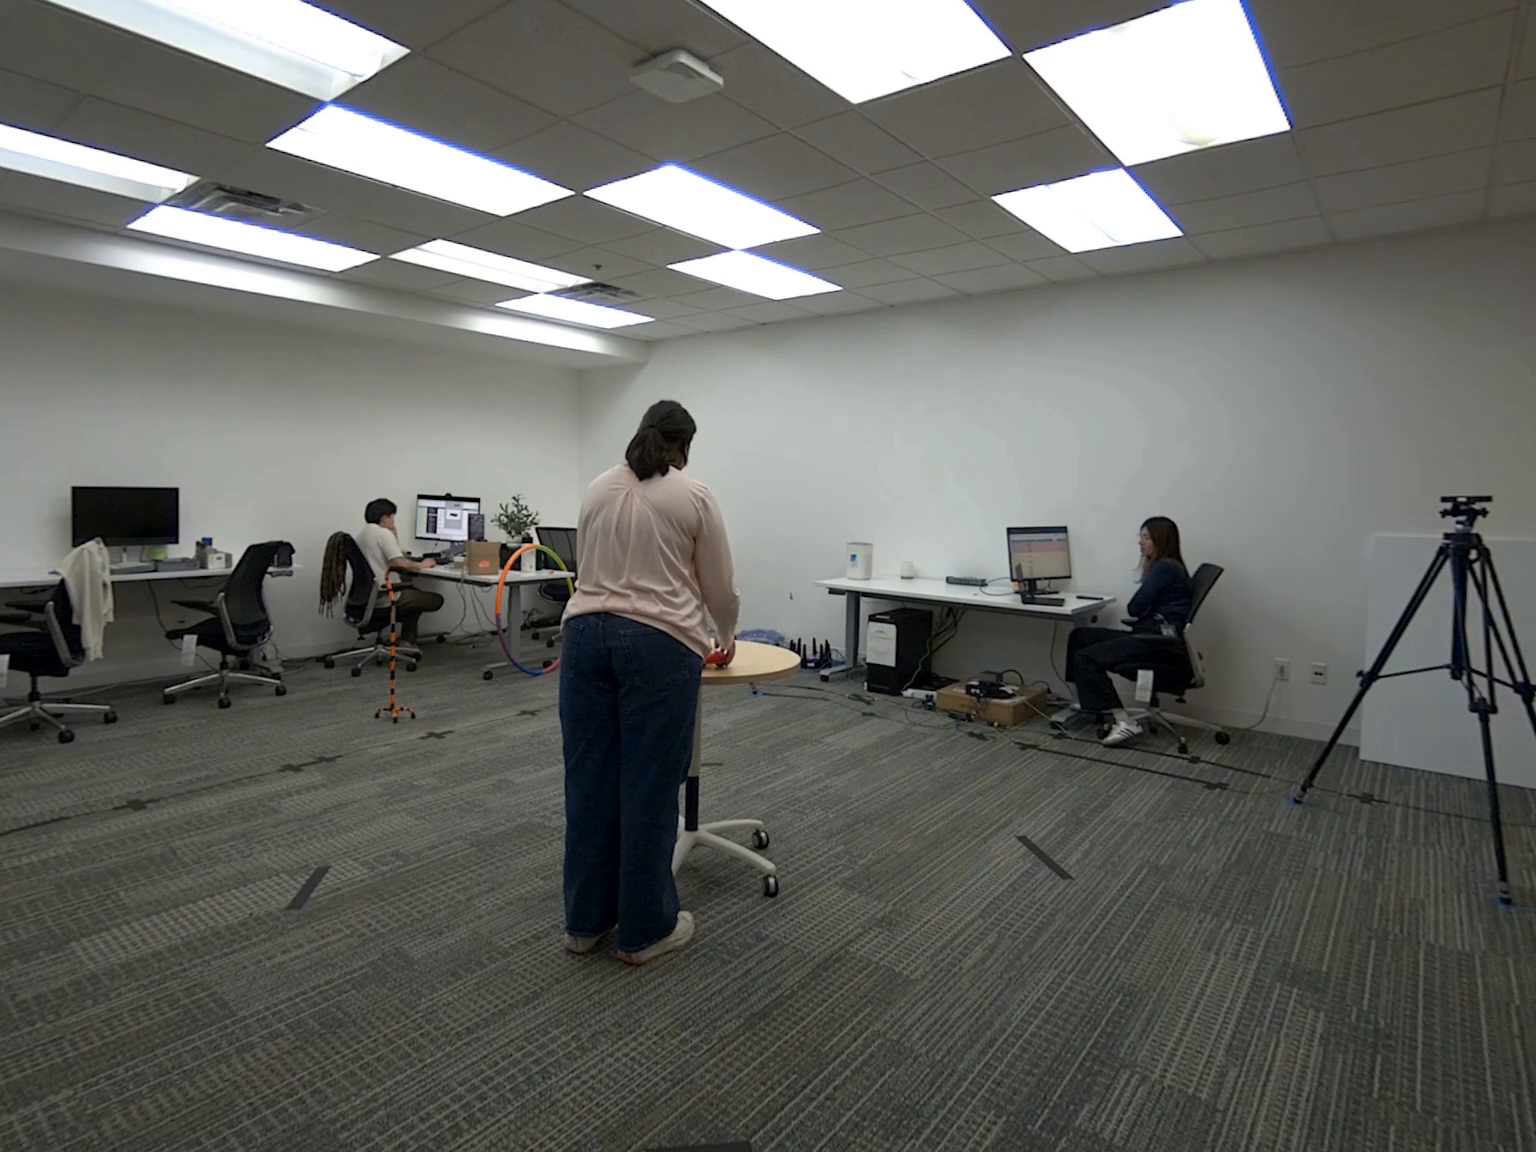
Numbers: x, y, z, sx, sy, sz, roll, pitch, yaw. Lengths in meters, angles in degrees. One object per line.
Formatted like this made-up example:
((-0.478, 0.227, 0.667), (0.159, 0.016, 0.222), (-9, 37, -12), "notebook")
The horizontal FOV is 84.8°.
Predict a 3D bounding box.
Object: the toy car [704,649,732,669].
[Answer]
((-0.261, 0.266, 2.935), (0.126, 0.082, 0.265), (-2, 17, -37), "toy car")
